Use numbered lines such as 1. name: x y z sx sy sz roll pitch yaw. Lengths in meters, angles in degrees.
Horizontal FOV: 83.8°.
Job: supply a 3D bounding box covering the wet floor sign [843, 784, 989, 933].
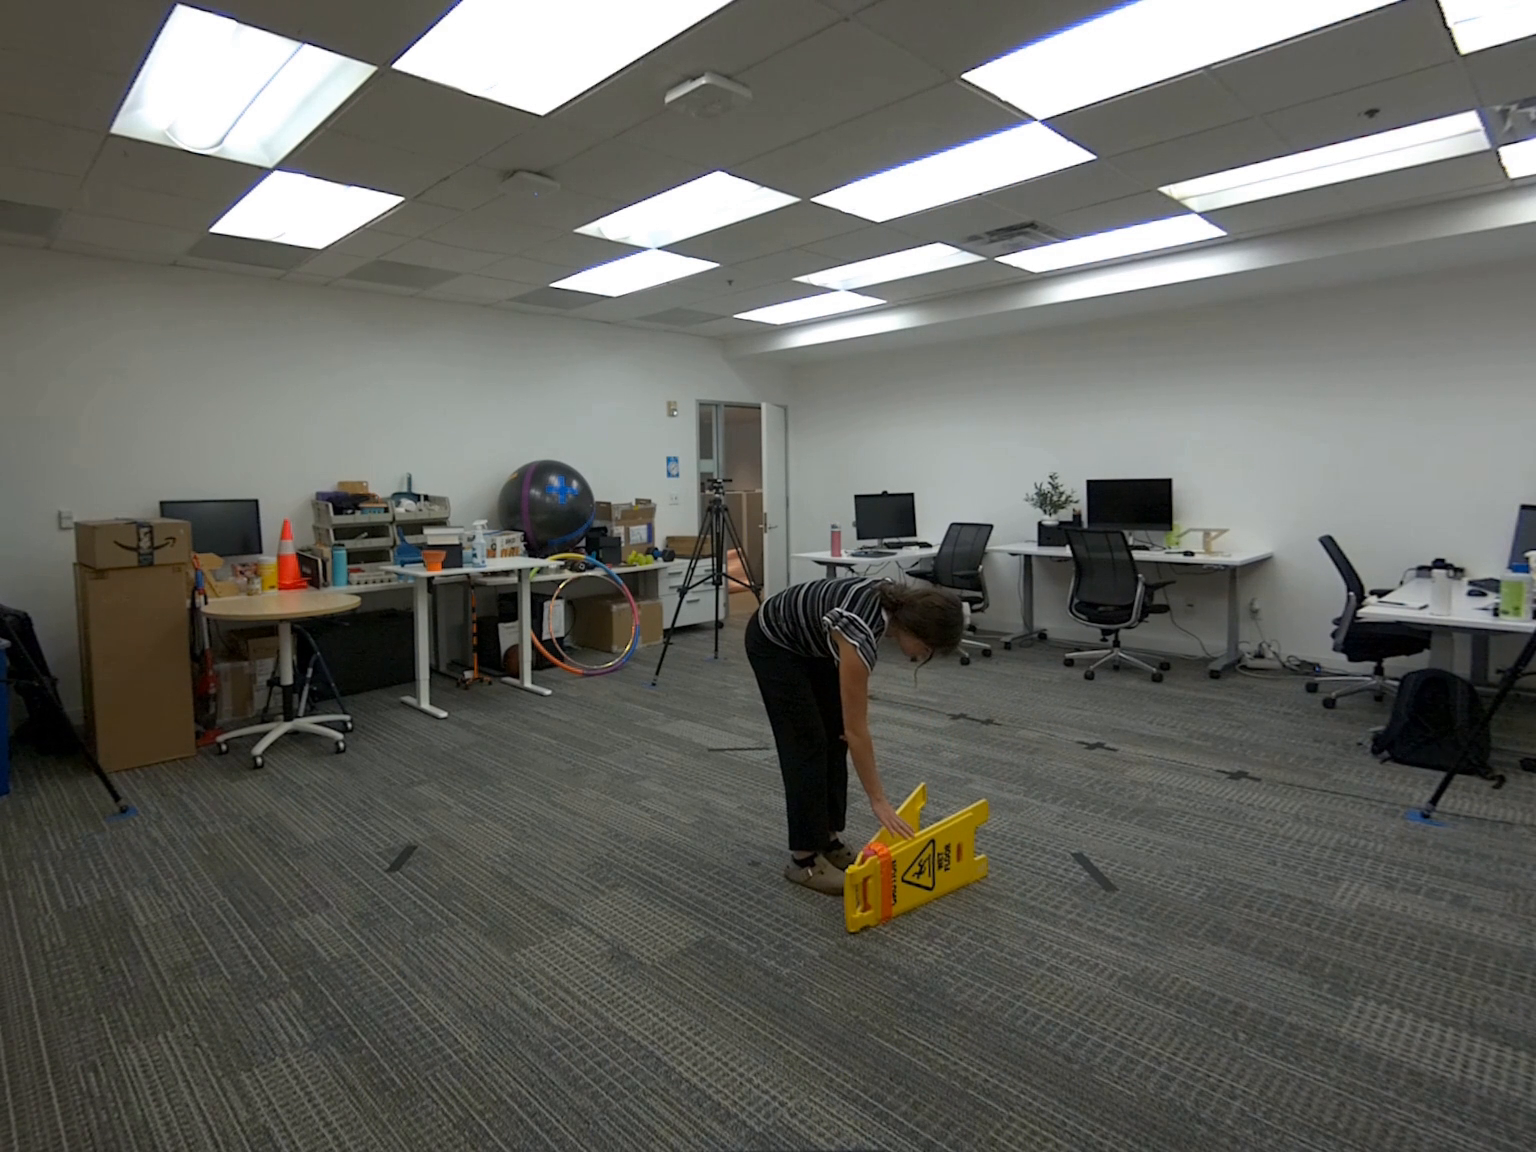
1. wet floor sign: 0.461 0.942 2.821 0.299 0.280 0.631 5 12 41
